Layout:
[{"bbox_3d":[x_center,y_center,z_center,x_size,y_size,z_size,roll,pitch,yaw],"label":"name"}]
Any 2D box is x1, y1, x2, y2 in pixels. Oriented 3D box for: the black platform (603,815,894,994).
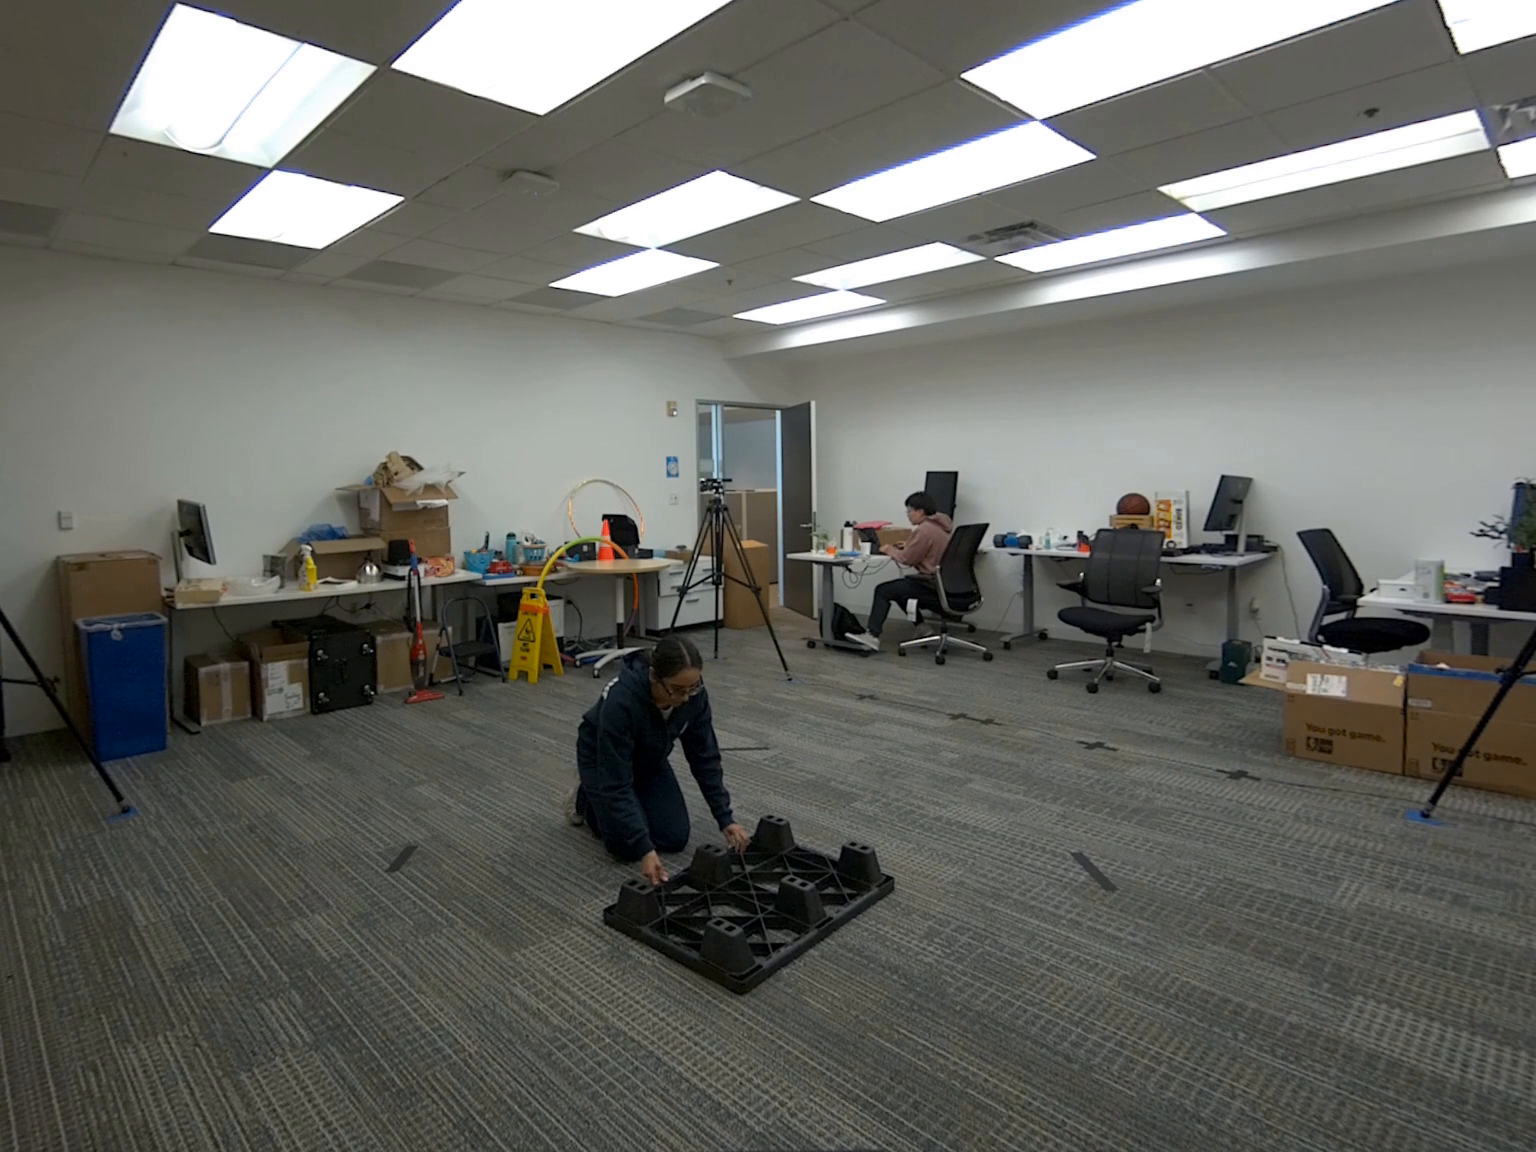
[{"bbox_3d":[-0.045,1.013,2.801,0.624,0.142,0.785,5,9,41],"label":"black platform"}]
